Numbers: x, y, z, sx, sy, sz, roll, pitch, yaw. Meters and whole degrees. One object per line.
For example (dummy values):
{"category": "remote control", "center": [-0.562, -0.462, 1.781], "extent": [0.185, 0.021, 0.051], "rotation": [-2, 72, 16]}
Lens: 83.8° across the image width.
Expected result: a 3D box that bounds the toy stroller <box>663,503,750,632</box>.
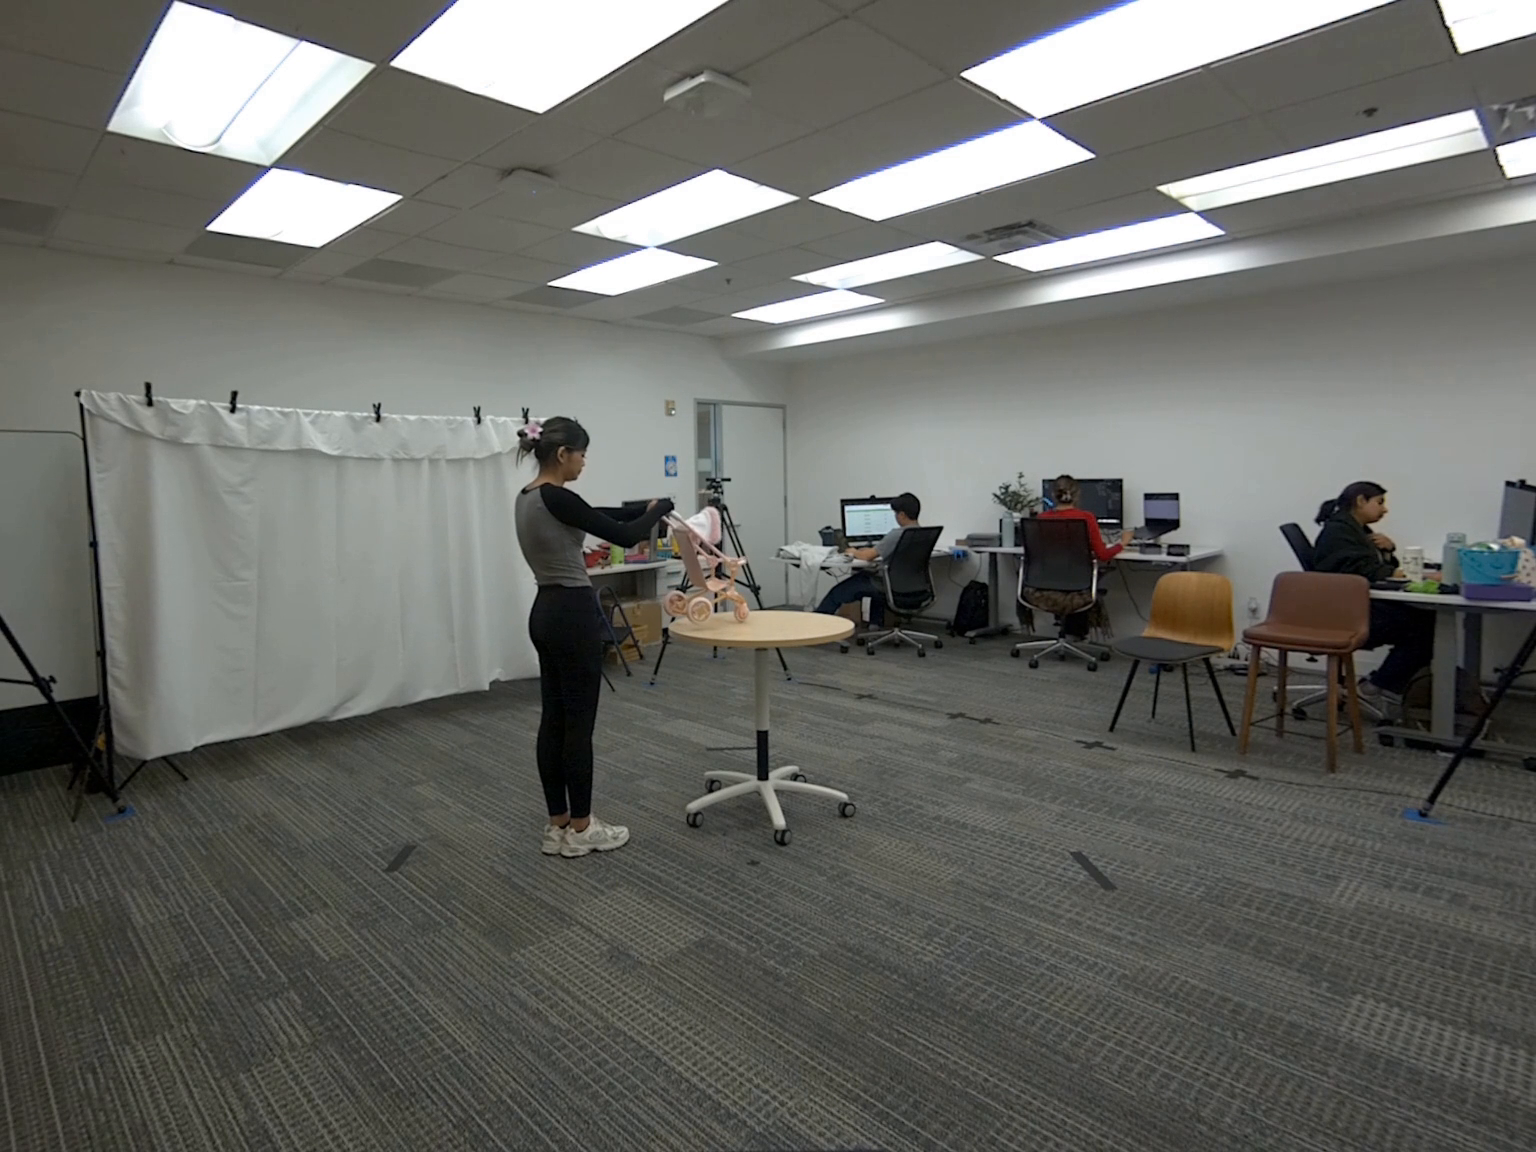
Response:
{"category": "toy stroller", "center": [-0.255, -0.043, 3.522], "extent": [0.336, 0.532, 0.288], "rotation": [-10, 7, -22]}
